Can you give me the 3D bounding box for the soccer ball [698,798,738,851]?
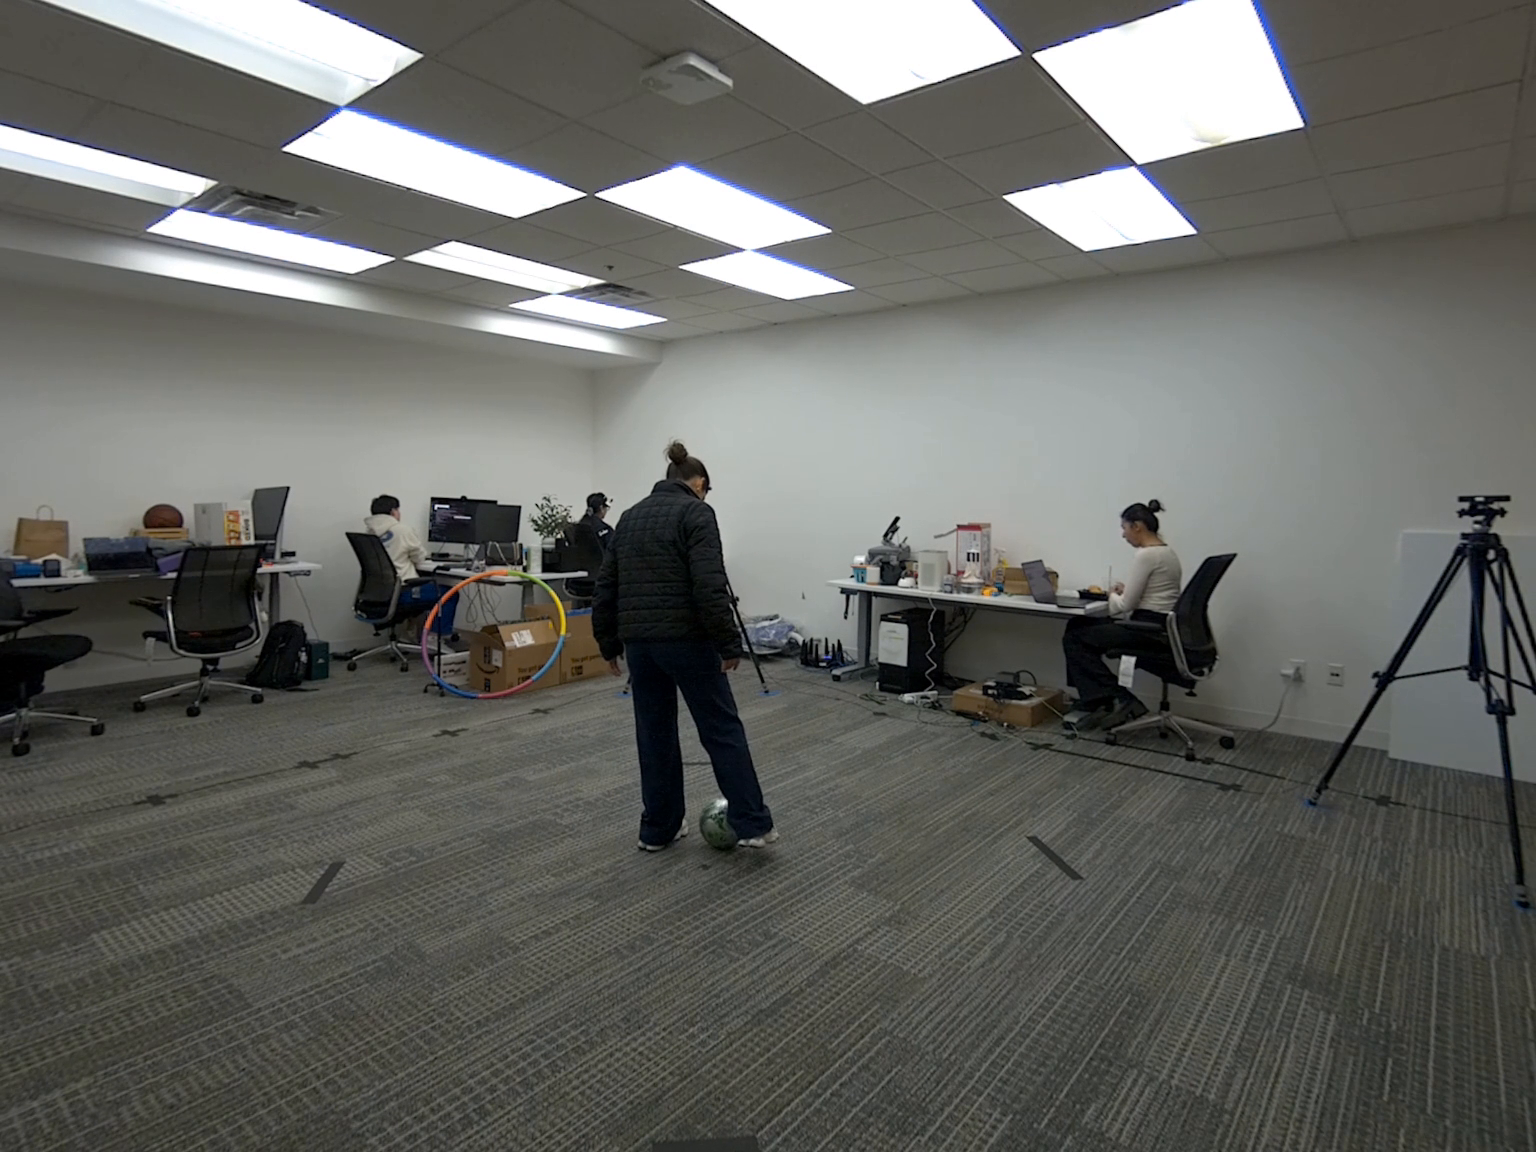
[{"bbox_3d":[-0.179,0.958,3.284,0.187,0.187,0.188,1,4,-2],"label":"soccer ball"}]
